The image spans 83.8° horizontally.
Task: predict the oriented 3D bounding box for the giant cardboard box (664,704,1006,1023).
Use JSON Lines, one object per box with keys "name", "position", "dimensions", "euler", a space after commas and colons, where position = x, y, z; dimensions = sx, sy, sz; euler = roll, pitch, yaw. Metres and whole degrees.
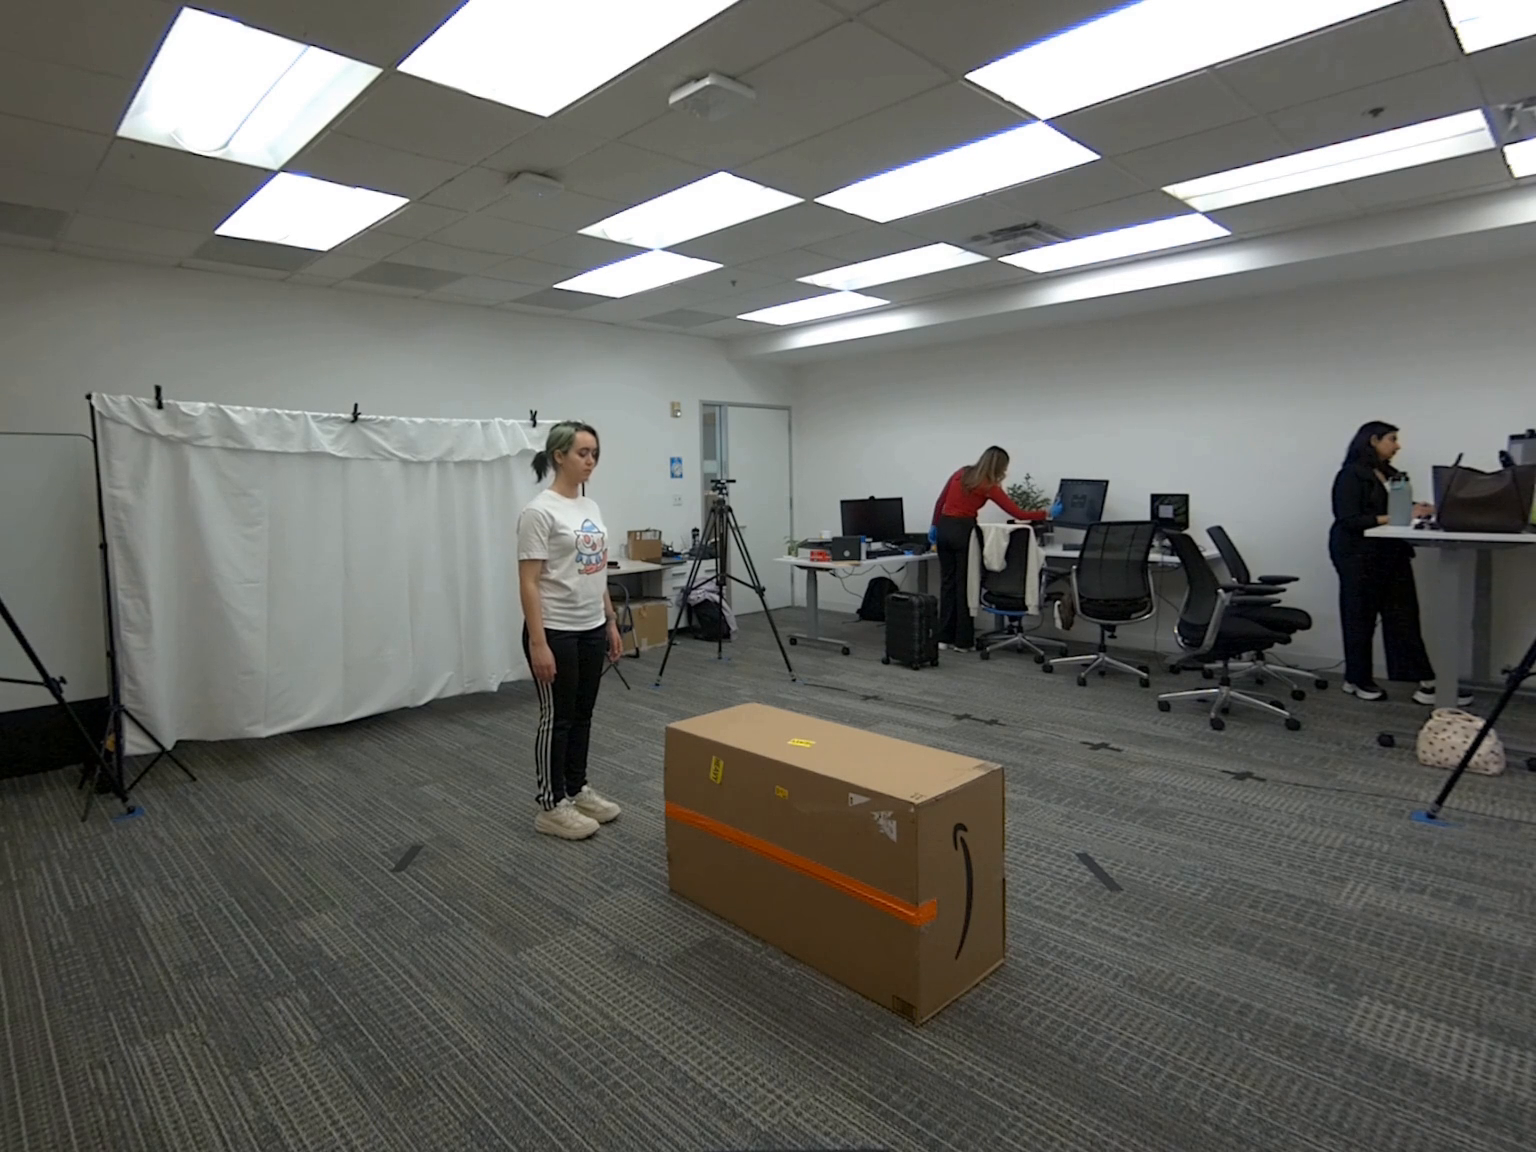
{"name": "giant cardboard box", "position": [0.165, 0.806, 2.670], "dimensions": [0.435, 0.581, 1.059], "euler": [-6, 7, -44]}
